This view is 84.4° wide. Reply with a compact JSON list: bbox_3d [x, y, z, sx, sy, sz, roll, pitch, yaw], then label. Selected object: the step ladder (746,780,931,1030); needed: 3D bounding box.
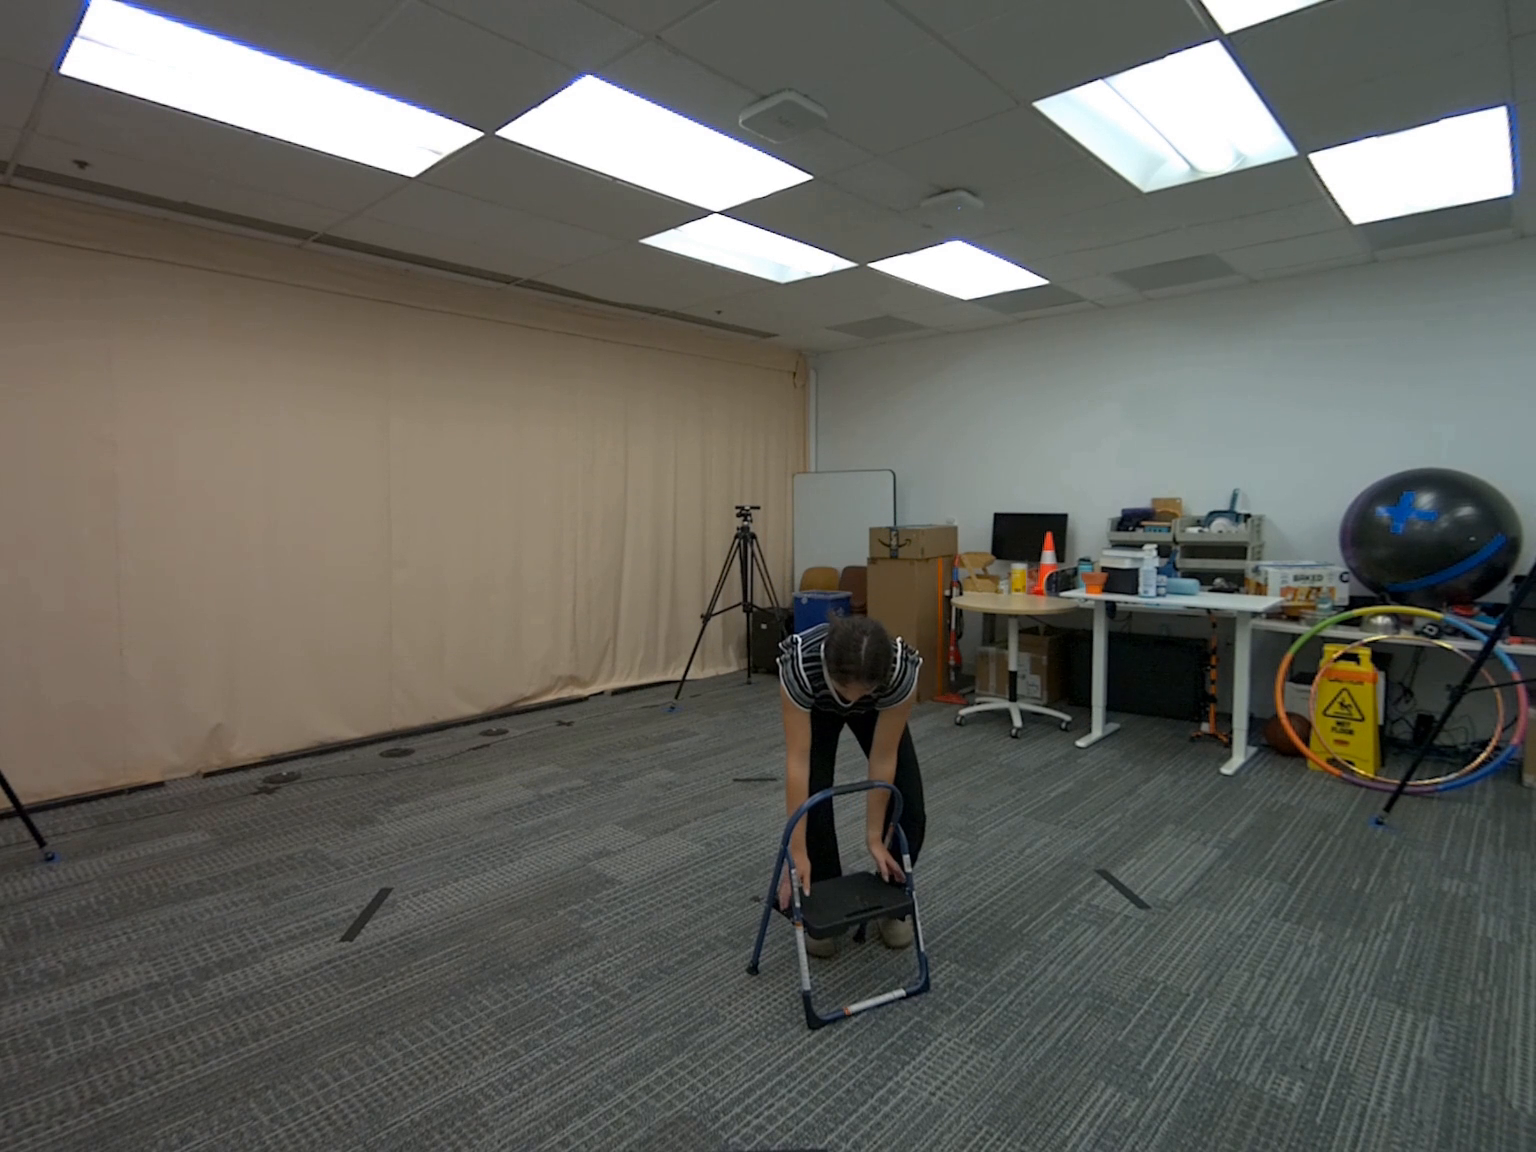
[{"bbox_3d":[0.204,0.884,2.455,0.419,0.605,0.359,-2,4,-30],"label":"step ladder"}]
